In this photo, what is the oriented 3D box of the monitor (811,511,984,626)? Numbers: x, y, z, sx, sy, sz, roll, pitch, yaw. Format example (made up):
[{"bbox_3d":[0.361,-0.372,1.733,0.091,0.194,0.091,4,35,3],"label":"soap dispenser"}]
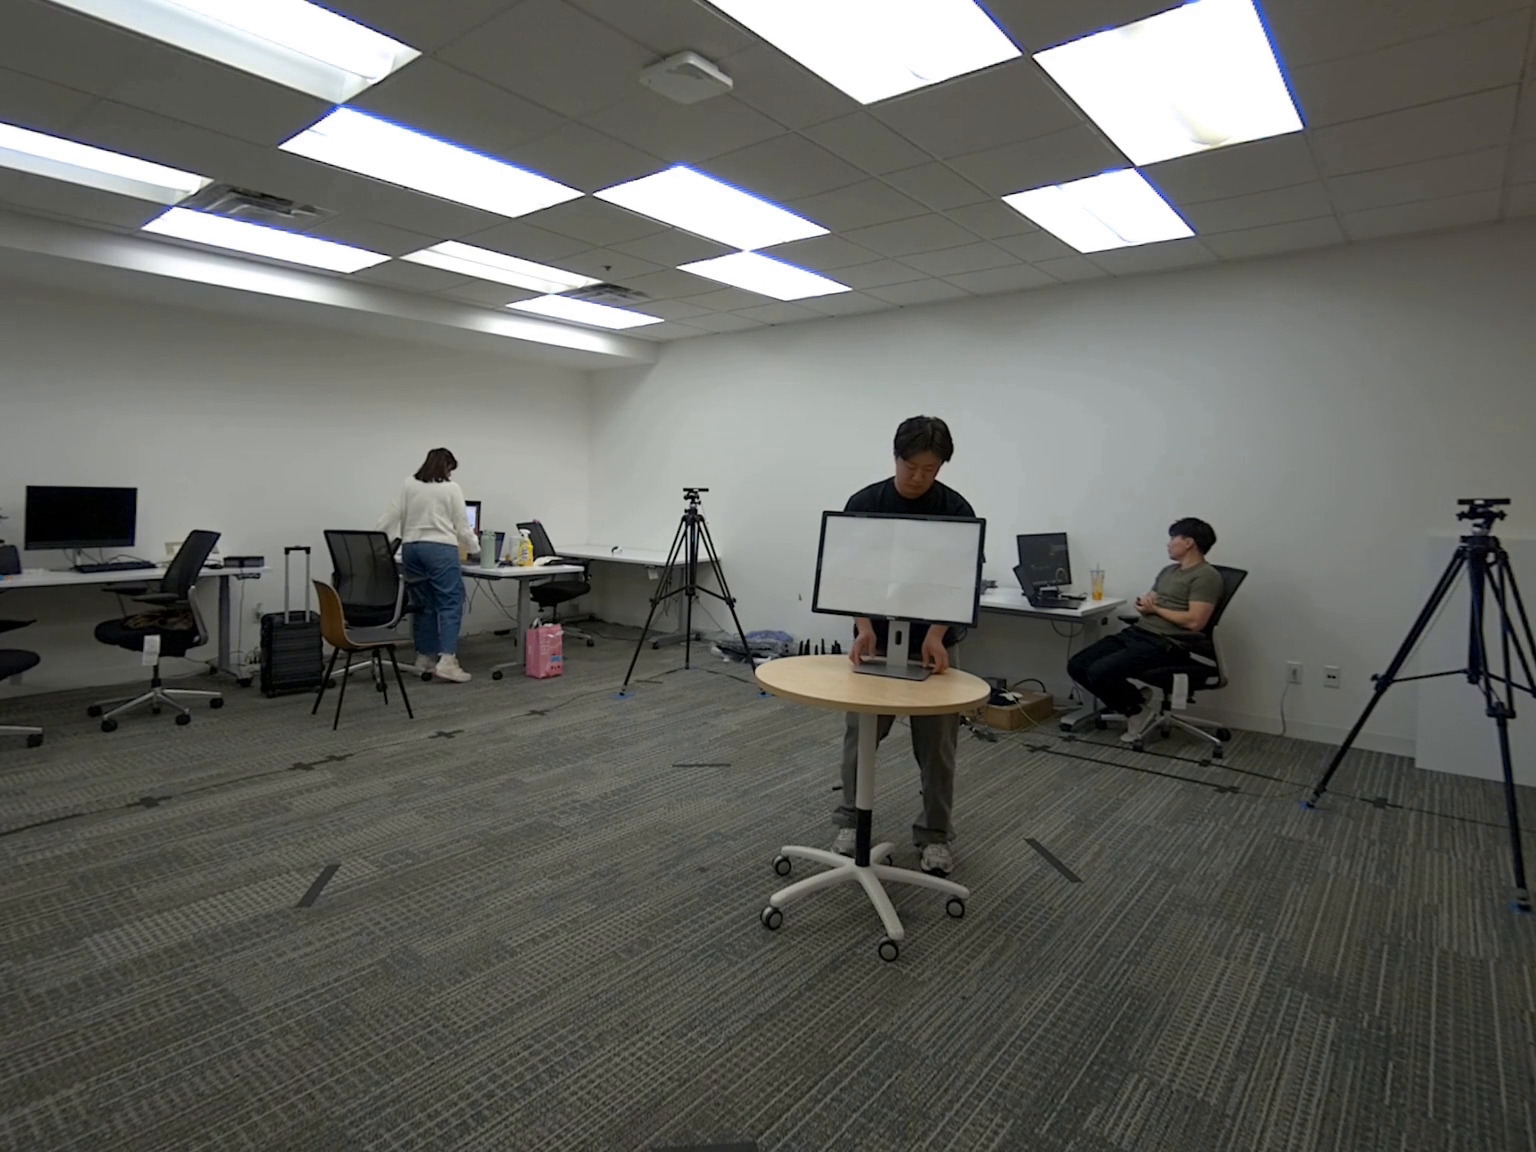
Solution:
[{"bbox_3d":[0.440,0.065,2.916,0.577,0.563,0.217,4,6,27],"label":"monitor"}]
